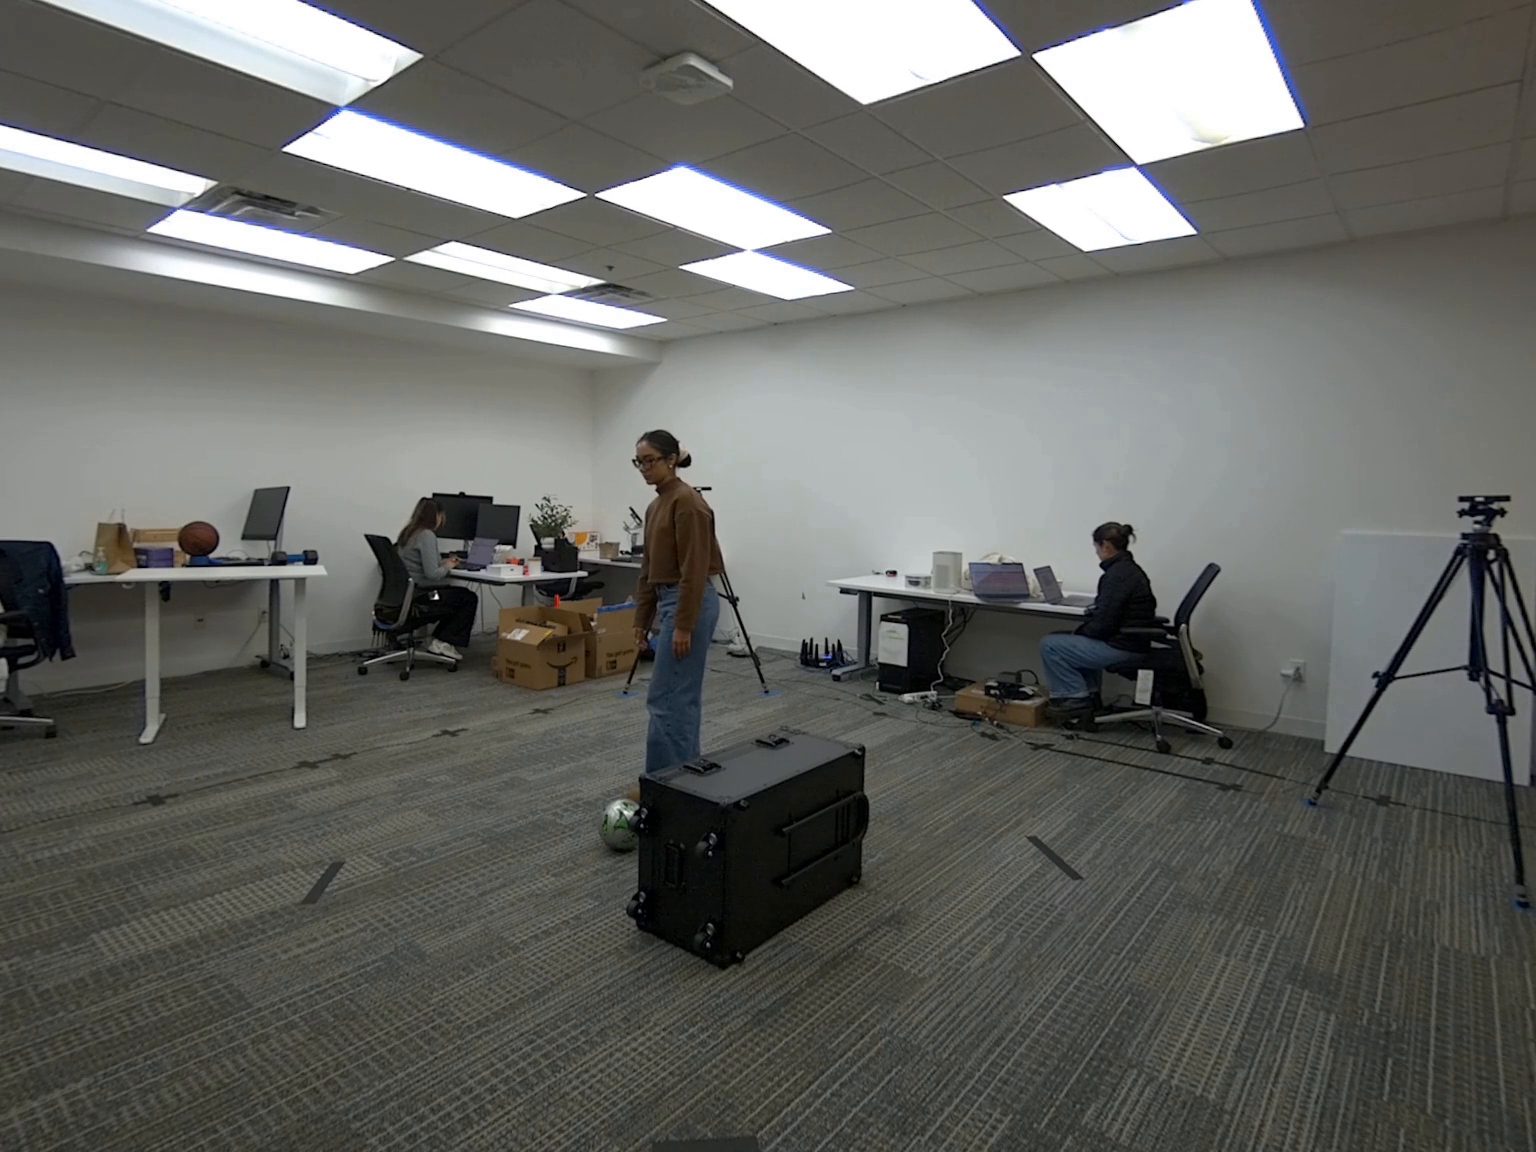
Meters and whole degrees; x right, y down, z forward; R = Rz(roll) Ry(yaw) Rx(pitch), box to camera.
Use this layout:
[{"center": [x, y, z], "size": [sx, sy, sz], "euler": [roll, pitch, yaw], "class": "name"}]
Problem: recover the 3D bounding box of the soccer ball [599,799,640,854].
[{"center": [-0.577, 0.950, 3.268], "size": [0.187, 0.187, 0.188], "euler": [1, 4, -2], "class": "soccer ball"}]
